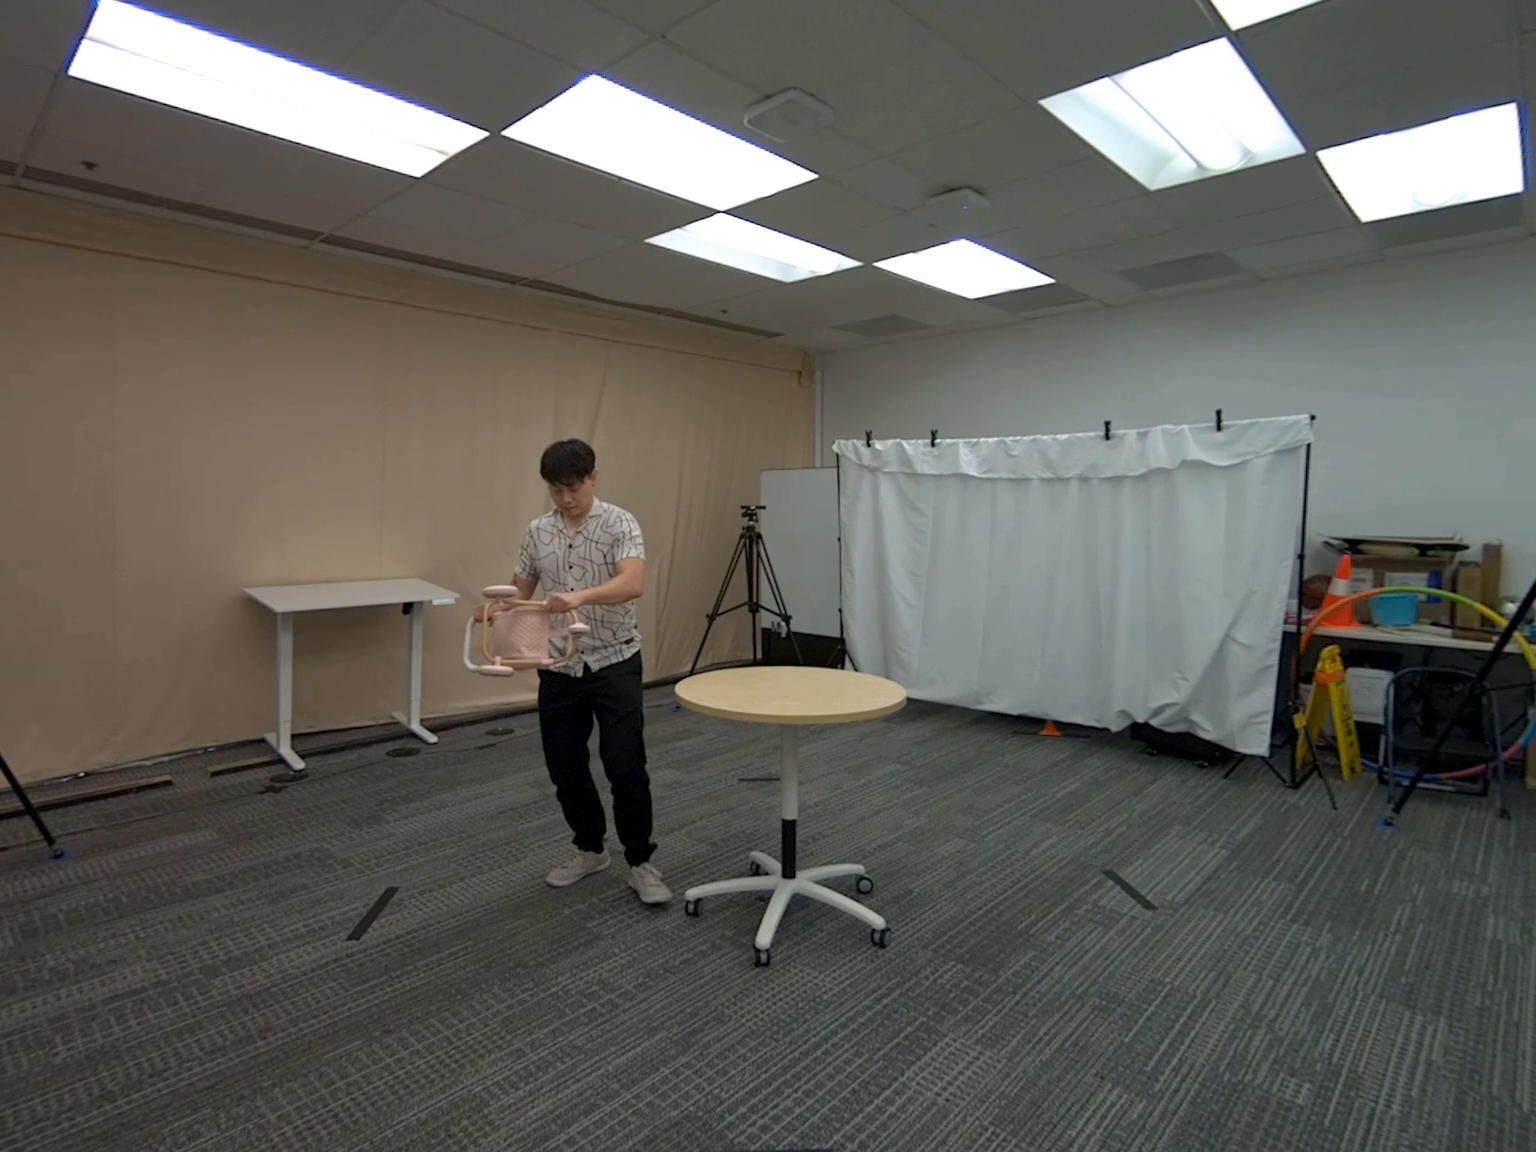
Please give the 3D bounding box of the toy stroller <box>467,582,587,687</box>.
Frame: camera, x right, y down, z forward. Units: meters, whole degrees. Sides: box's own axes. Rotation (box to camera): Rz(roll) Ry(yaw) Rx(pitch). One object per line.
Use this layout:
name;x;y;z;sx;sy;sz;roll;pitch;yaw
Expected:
toy stroller;-0.787;0.197;2.810;0.333;0.283;0.544;-1;-9;-25
